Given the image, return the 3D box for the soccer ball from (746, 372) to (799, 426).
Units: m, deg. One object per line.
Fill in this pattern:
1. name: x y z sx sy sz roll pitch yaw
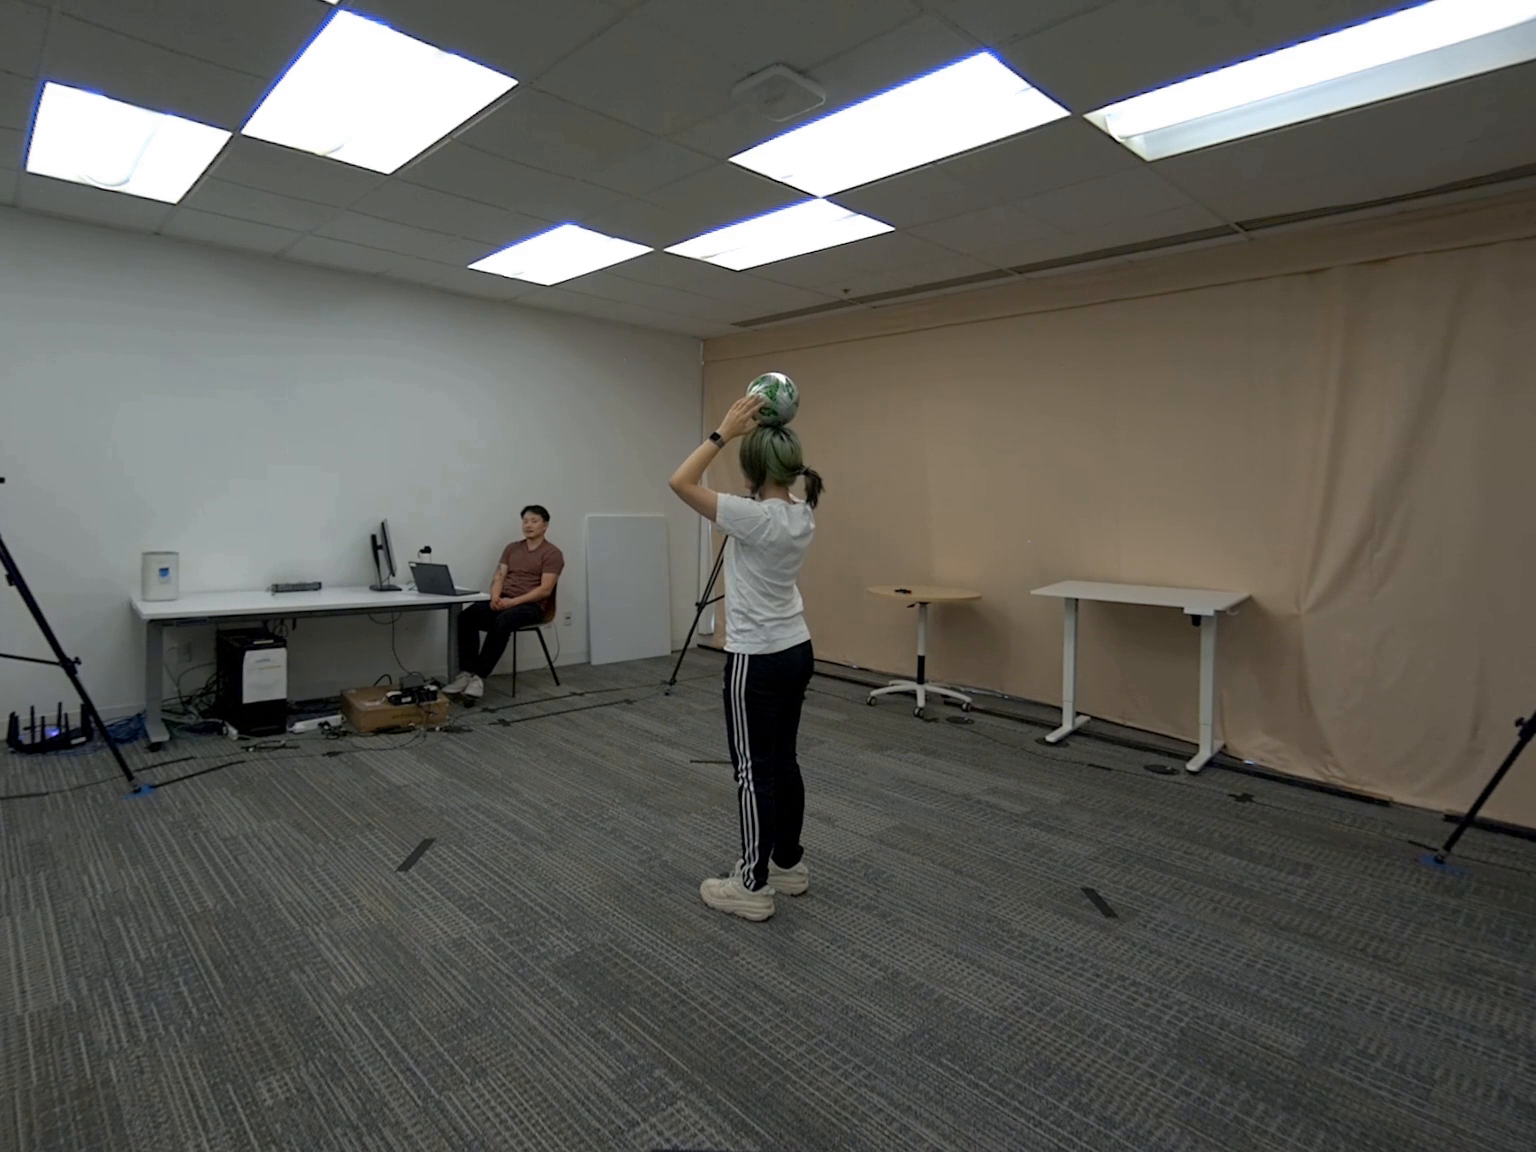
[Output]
1. soccer ball: 0.012 -0.593 2.859 0.187 0.187 0.188 1 4 -1
